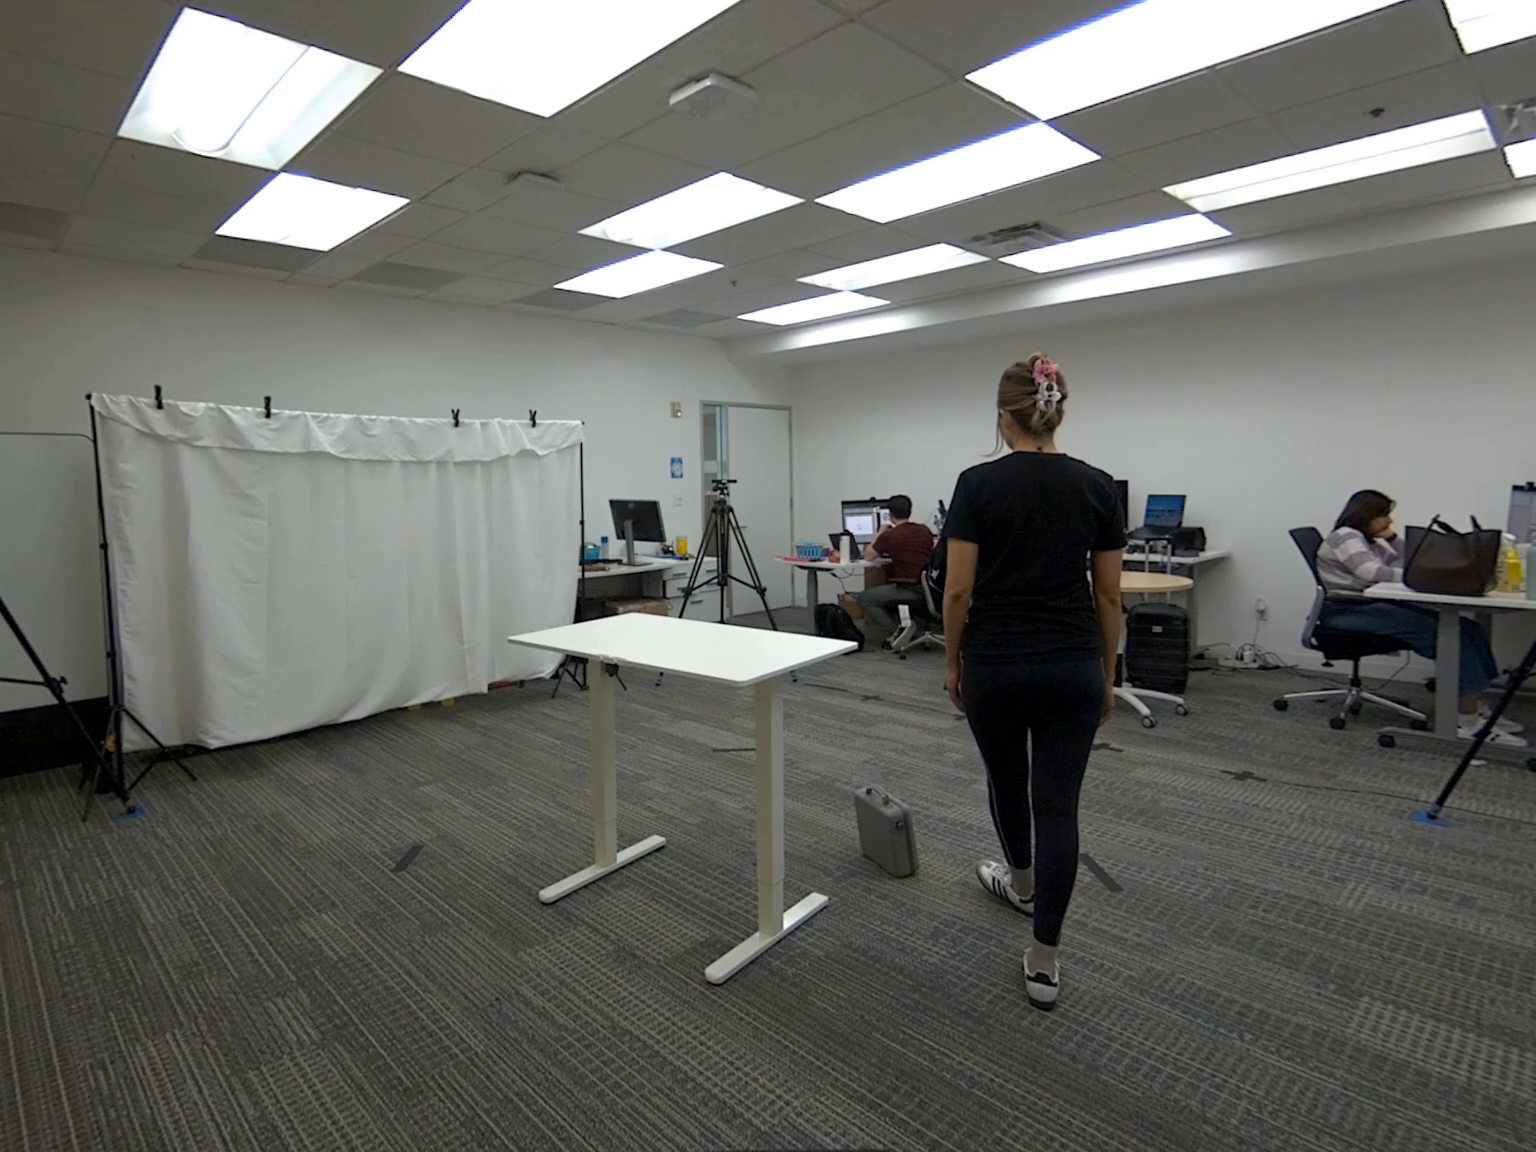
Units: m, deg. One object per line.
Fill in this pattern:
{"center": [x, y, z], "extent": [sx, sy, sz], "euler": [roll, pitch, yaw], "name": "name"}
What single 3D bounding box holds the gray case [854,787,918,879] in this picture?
{"center": [0.426, 0.907, 3.074], "extent": [0.103, 0.259, 0.263], "euler": [-11, 8, -22], "name": "gray case"}
